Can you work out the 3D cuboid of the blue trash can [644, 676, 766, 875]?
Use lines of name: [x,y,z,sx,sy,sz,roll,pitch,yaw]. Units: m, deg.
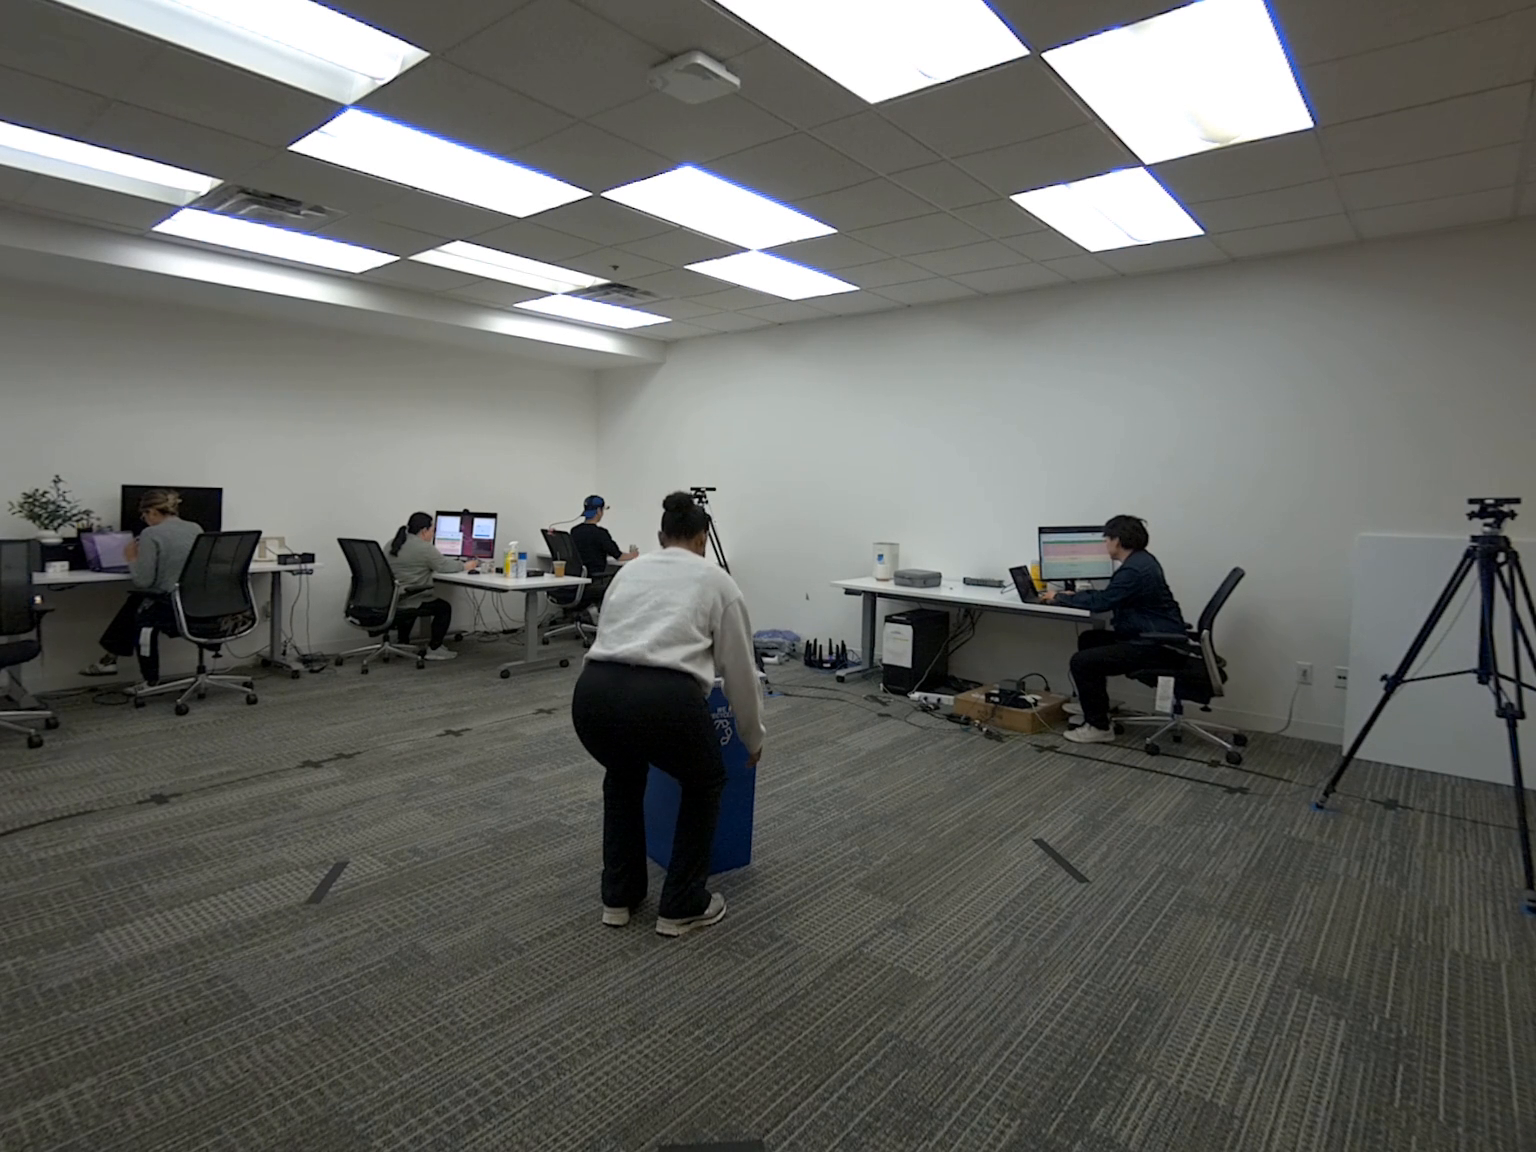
blue trash can: [-0.257,0.700,3.175,0.367,0.712,0.386,0,3,-37]
